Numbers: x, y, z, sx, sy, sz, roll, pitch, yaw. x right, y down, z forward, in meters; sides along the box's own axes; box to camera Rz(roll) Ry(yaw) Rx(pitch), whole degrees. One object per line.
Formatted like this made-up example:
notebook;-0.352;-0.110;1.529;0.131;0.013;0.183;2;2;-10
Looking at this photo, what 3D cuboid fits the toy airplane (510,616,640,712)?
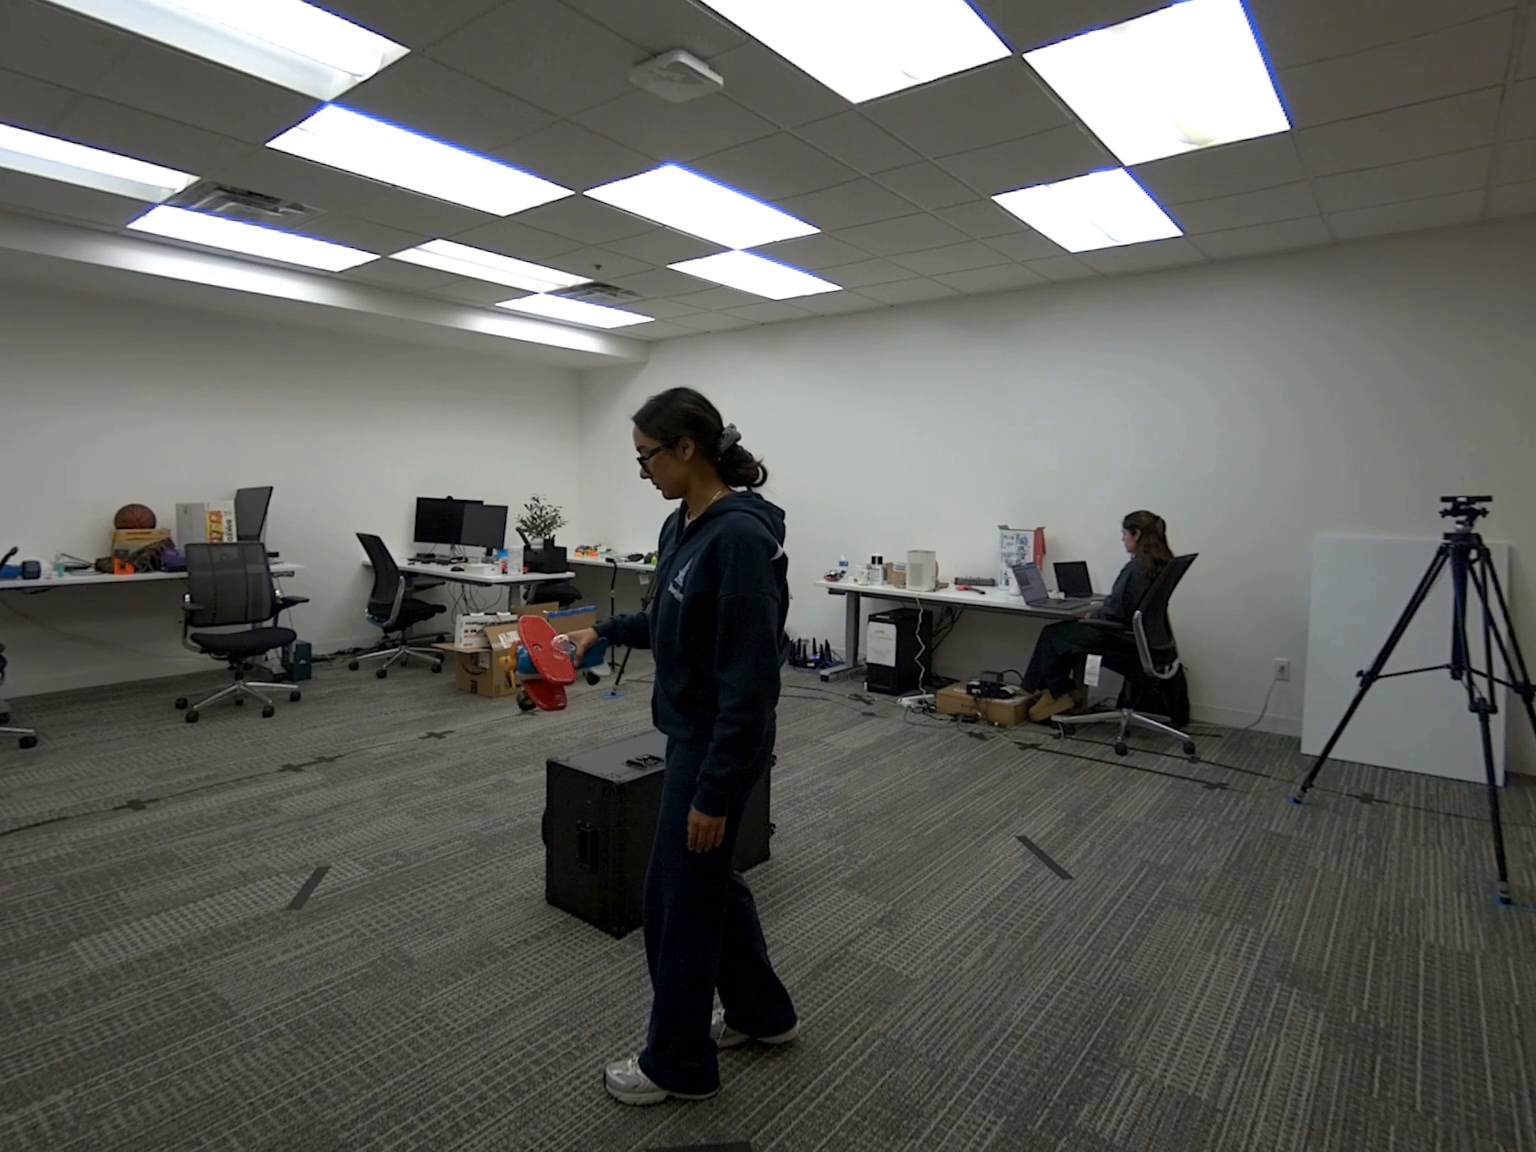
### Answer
toy airplane;-0.529;0.207;2.106;0.258;0.153;0.257;26;37;21
